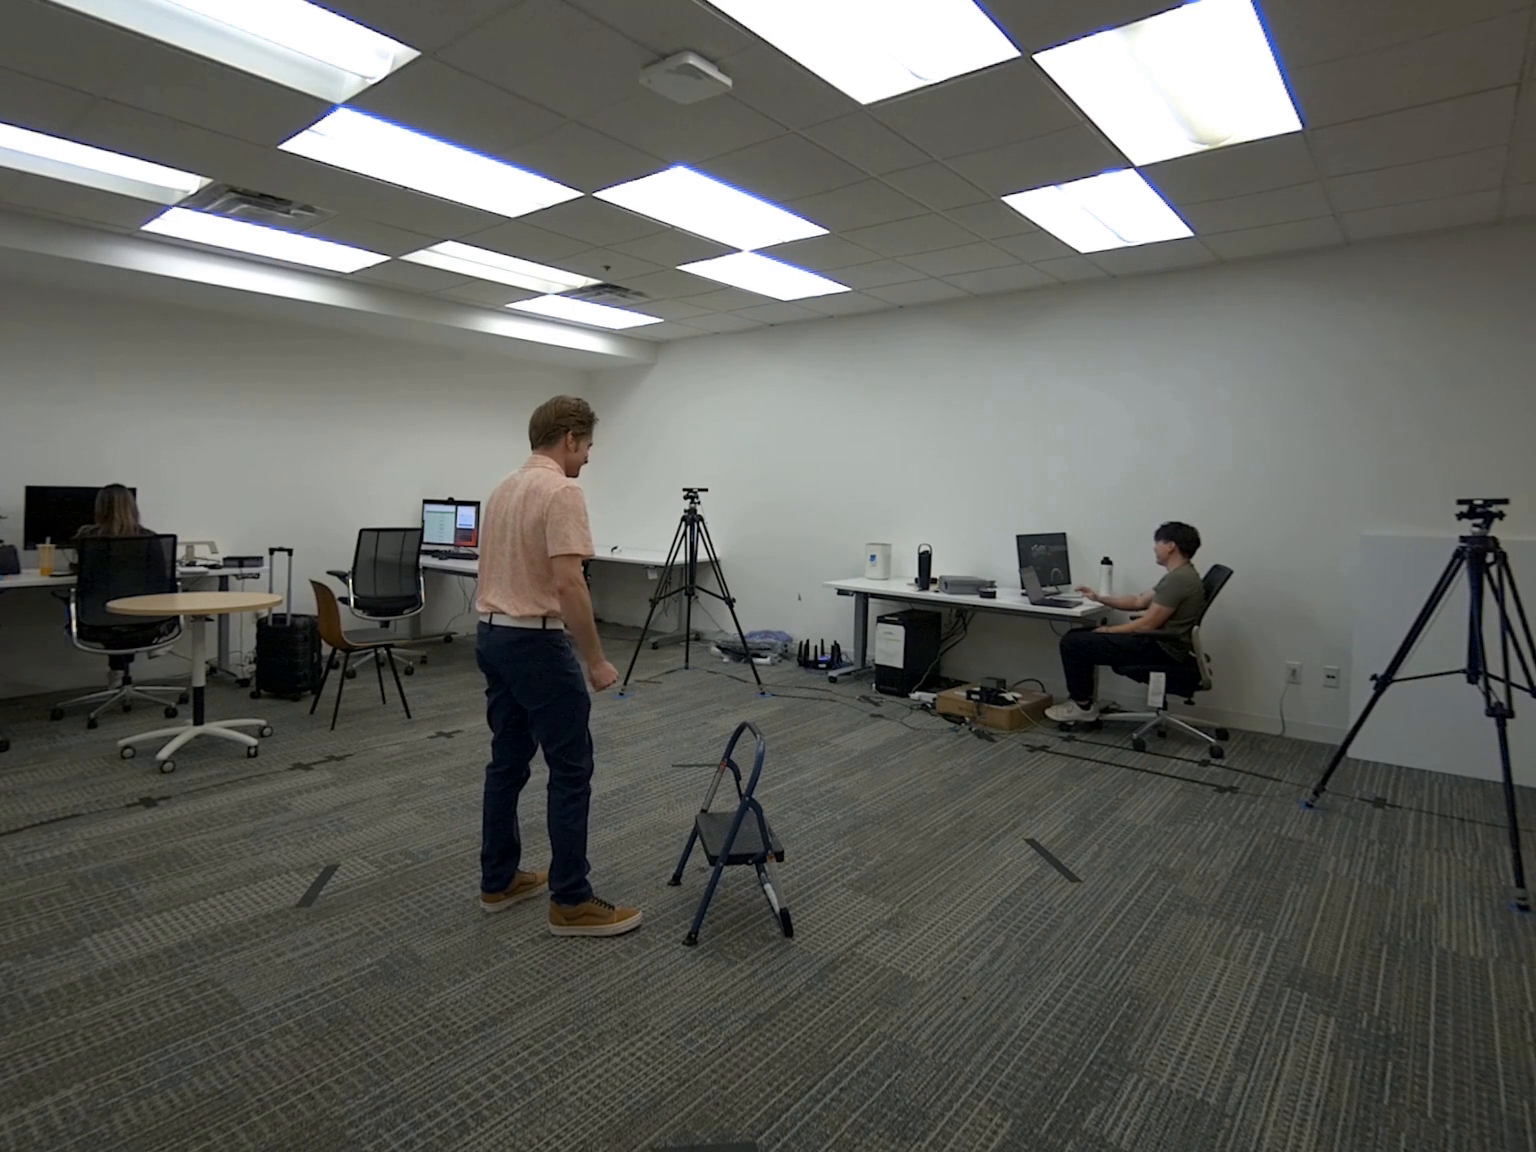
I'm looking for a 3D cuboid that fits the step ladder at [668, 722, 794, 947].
[{"bbox_3d":[-0.131,0.802,2.798,0.345,0.604,0.438,1,4,-13],"label":"step ladder"}]
